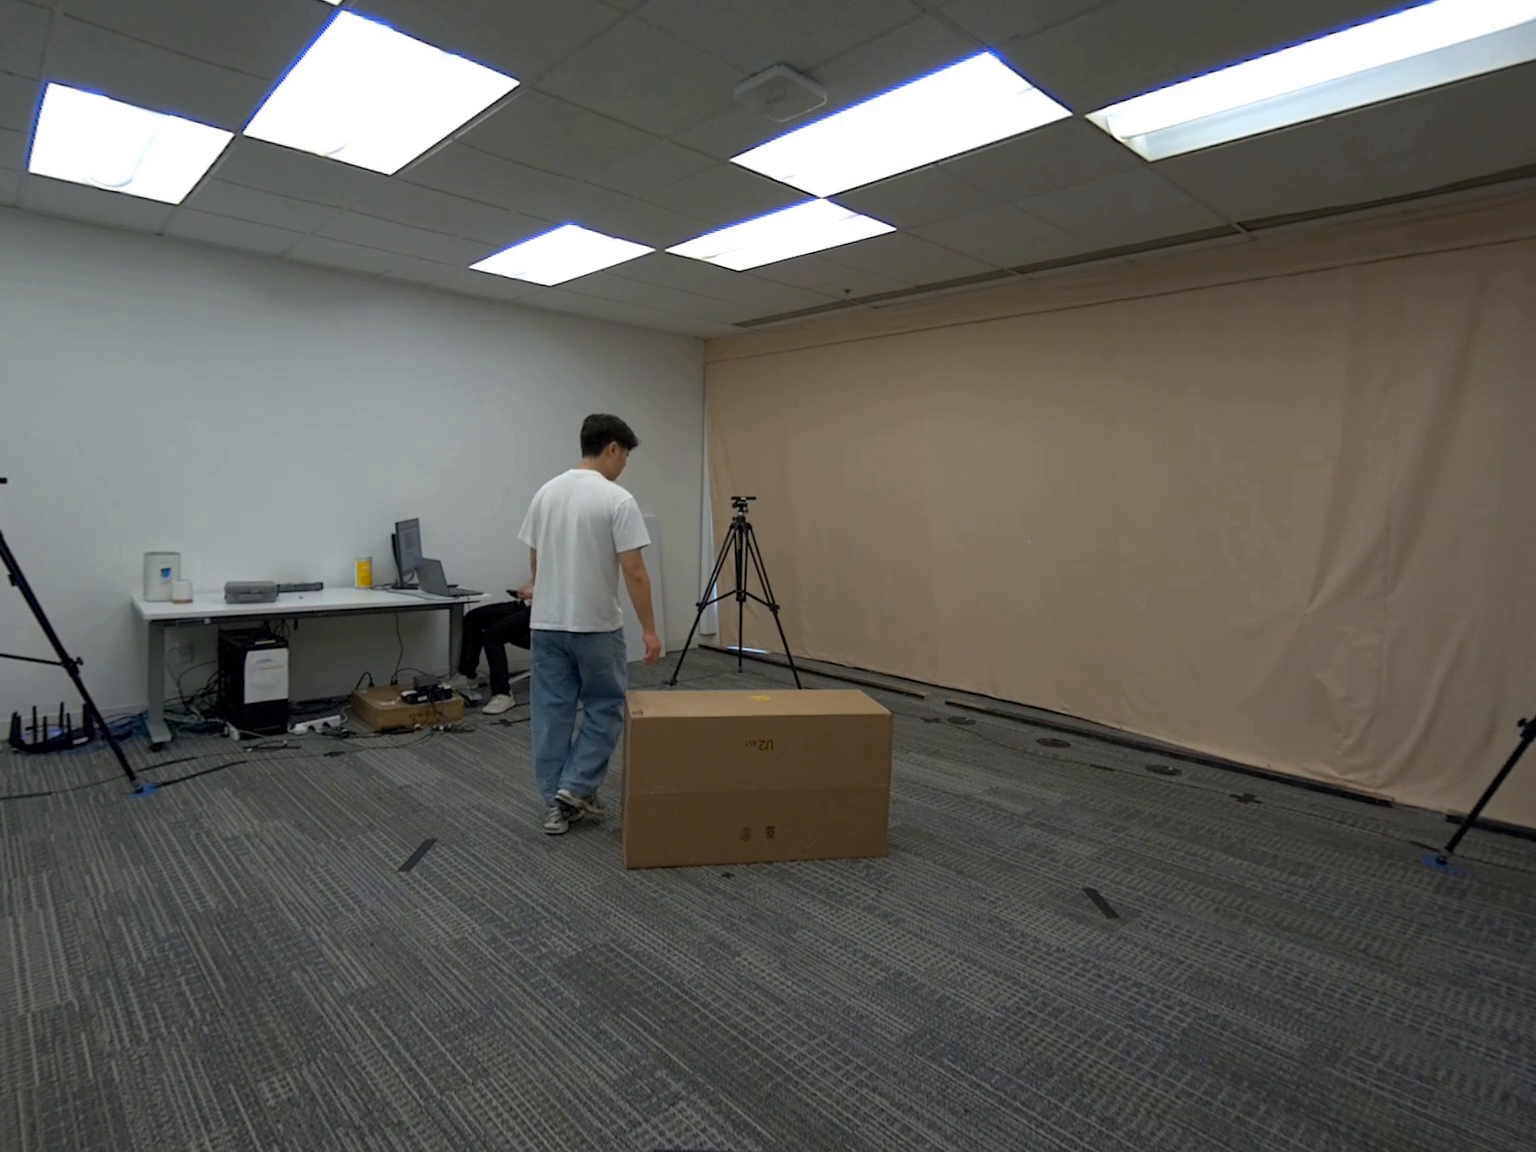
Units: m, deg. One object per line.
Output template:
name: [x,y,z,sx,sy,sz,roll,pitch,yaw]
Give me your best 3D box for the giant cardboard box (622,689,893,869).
giant cardboard box: [-0.068,0.793,3.399,1.018,0.576,0.431,1,4,-10]
